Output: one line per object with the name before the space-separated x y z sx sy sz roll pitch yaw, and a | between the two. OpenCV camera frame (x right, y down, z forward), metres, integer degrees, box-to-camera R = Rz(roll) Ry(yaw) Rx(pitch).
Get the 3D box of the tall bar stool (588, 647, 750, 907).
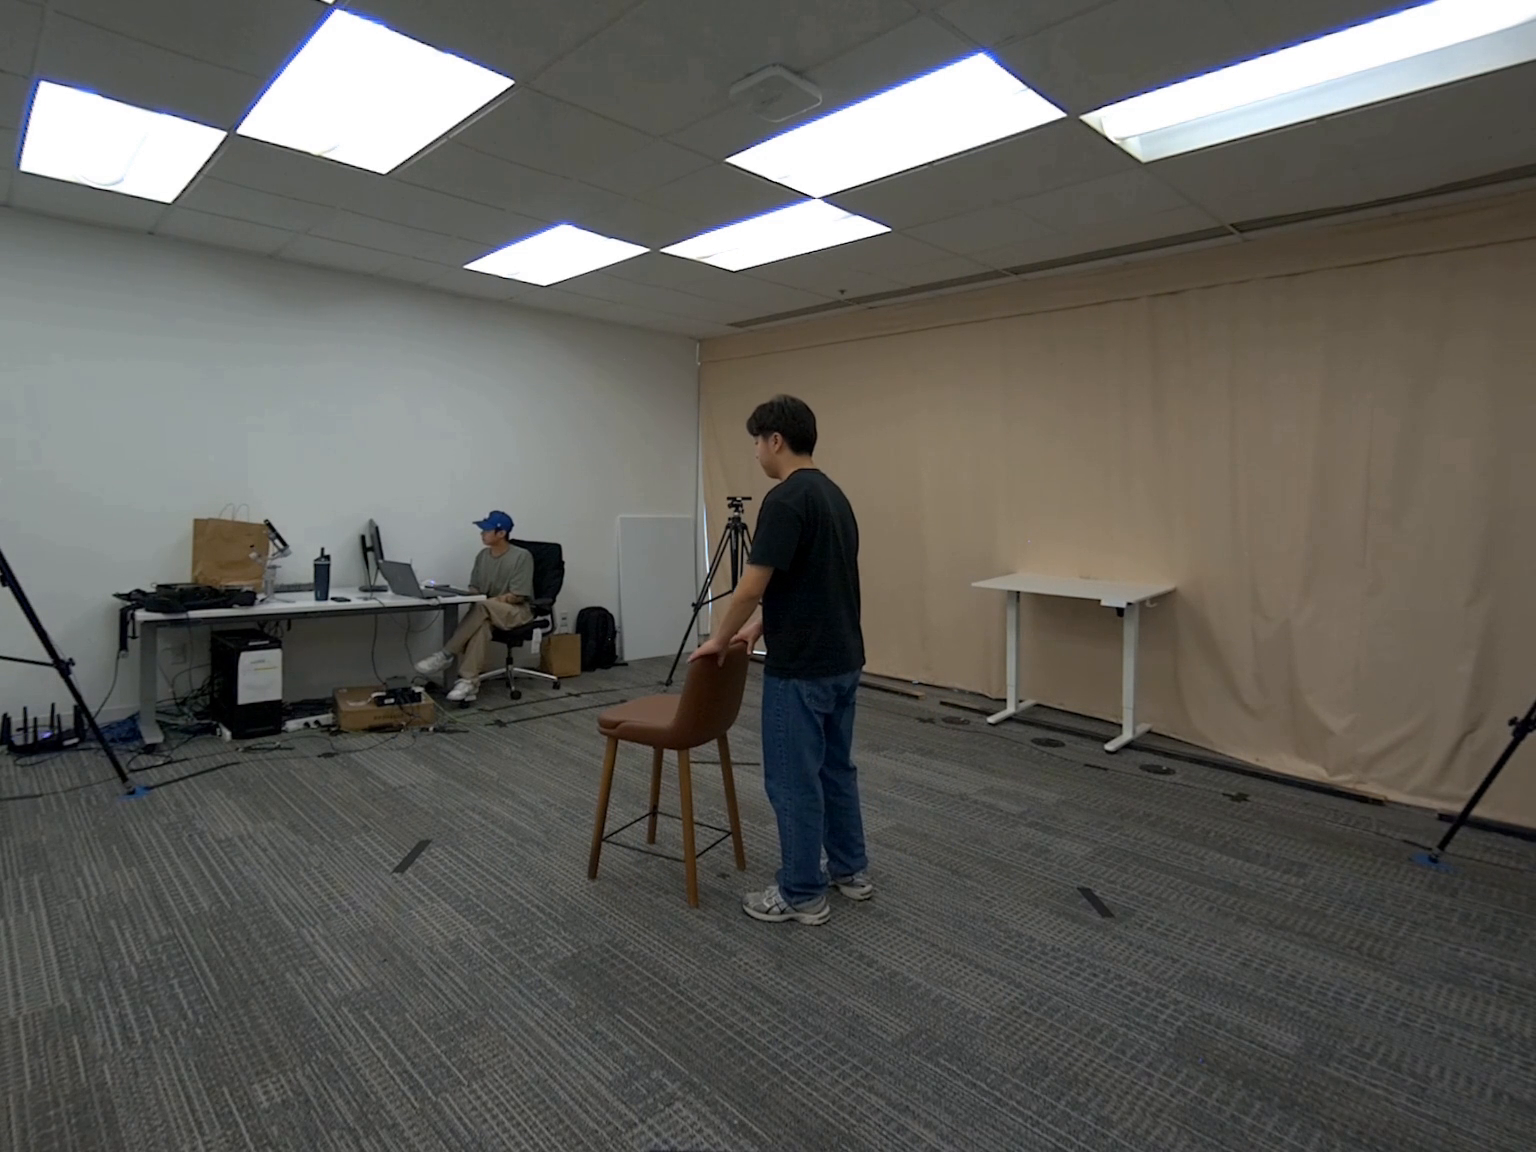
tall bar stool | -0.349 0.664 3.091 0.478 0.887 0.448 6 5 29
